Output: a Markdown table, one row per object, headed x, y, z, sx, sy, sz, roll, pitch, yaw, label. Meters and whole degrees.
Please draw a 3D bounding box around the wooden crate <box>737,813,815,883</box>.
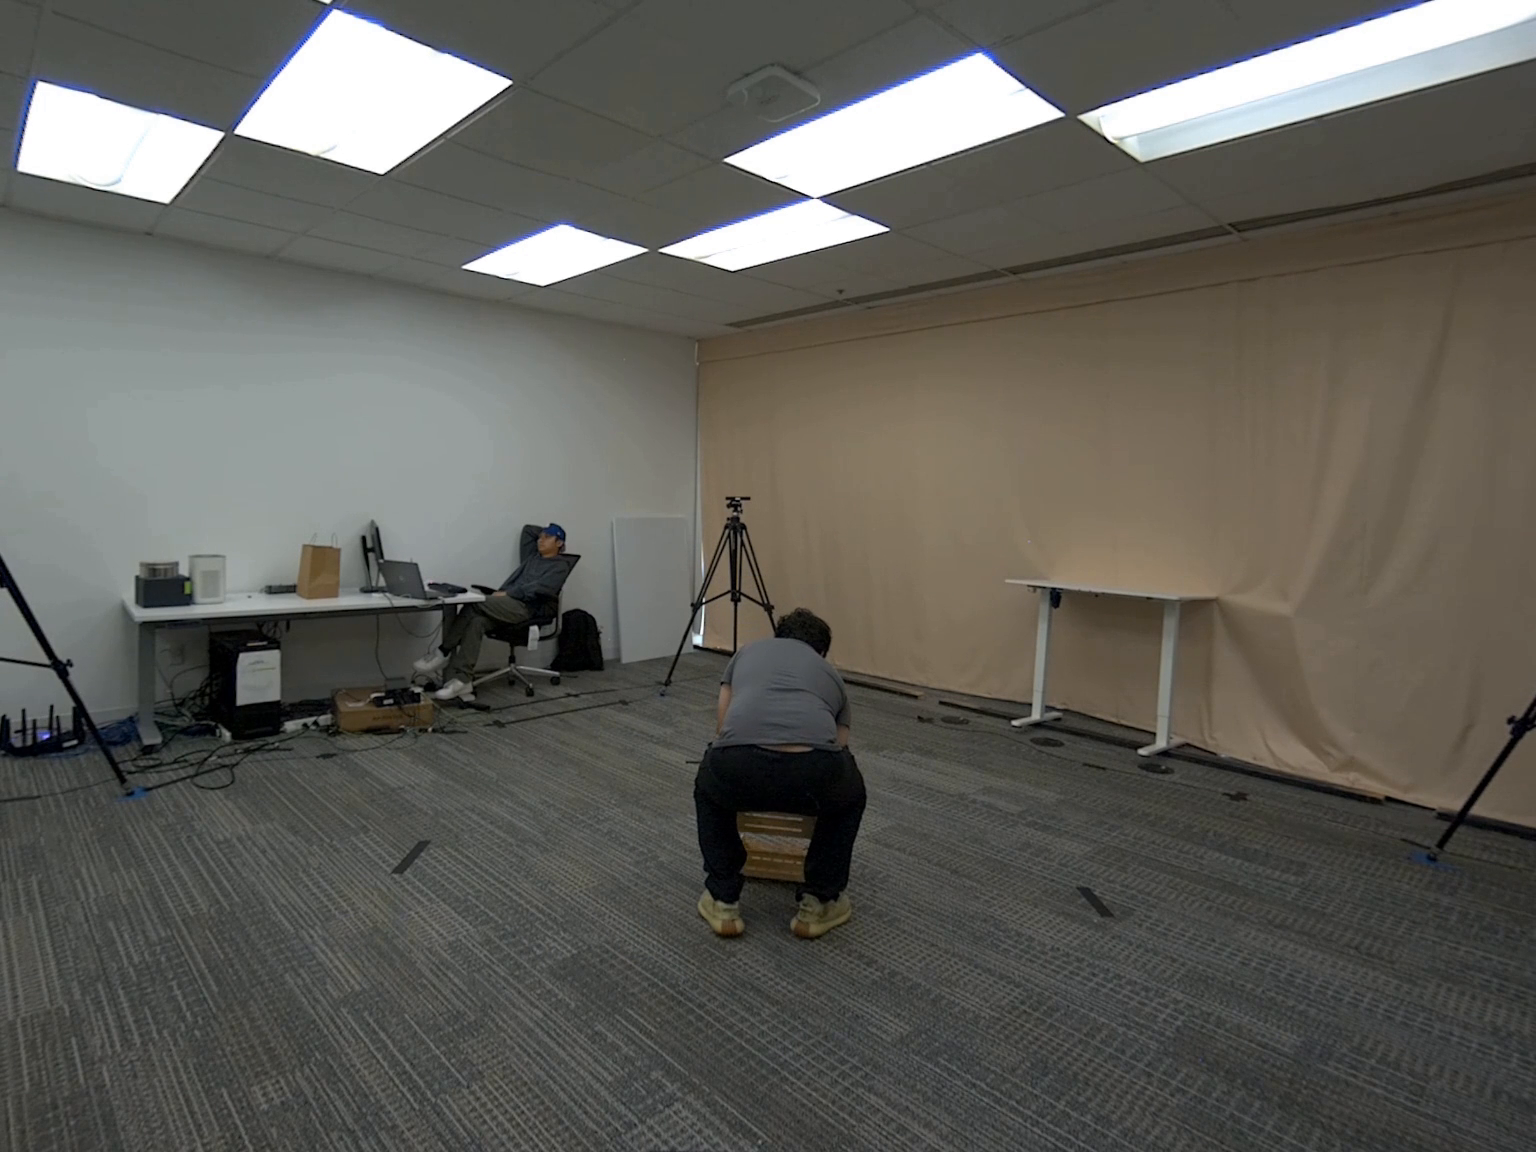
| x | y | z | sx | sy | sz | roll | pitch | yaw | label |
| --- | --- | --- | --- | --- | --- | --- | --- | --- | --- |
| 0.034 | 0.969 | 3.150 | 0.327 | 0.274 | 0.299 | 3 | -2 | 10 | wooden crate |
